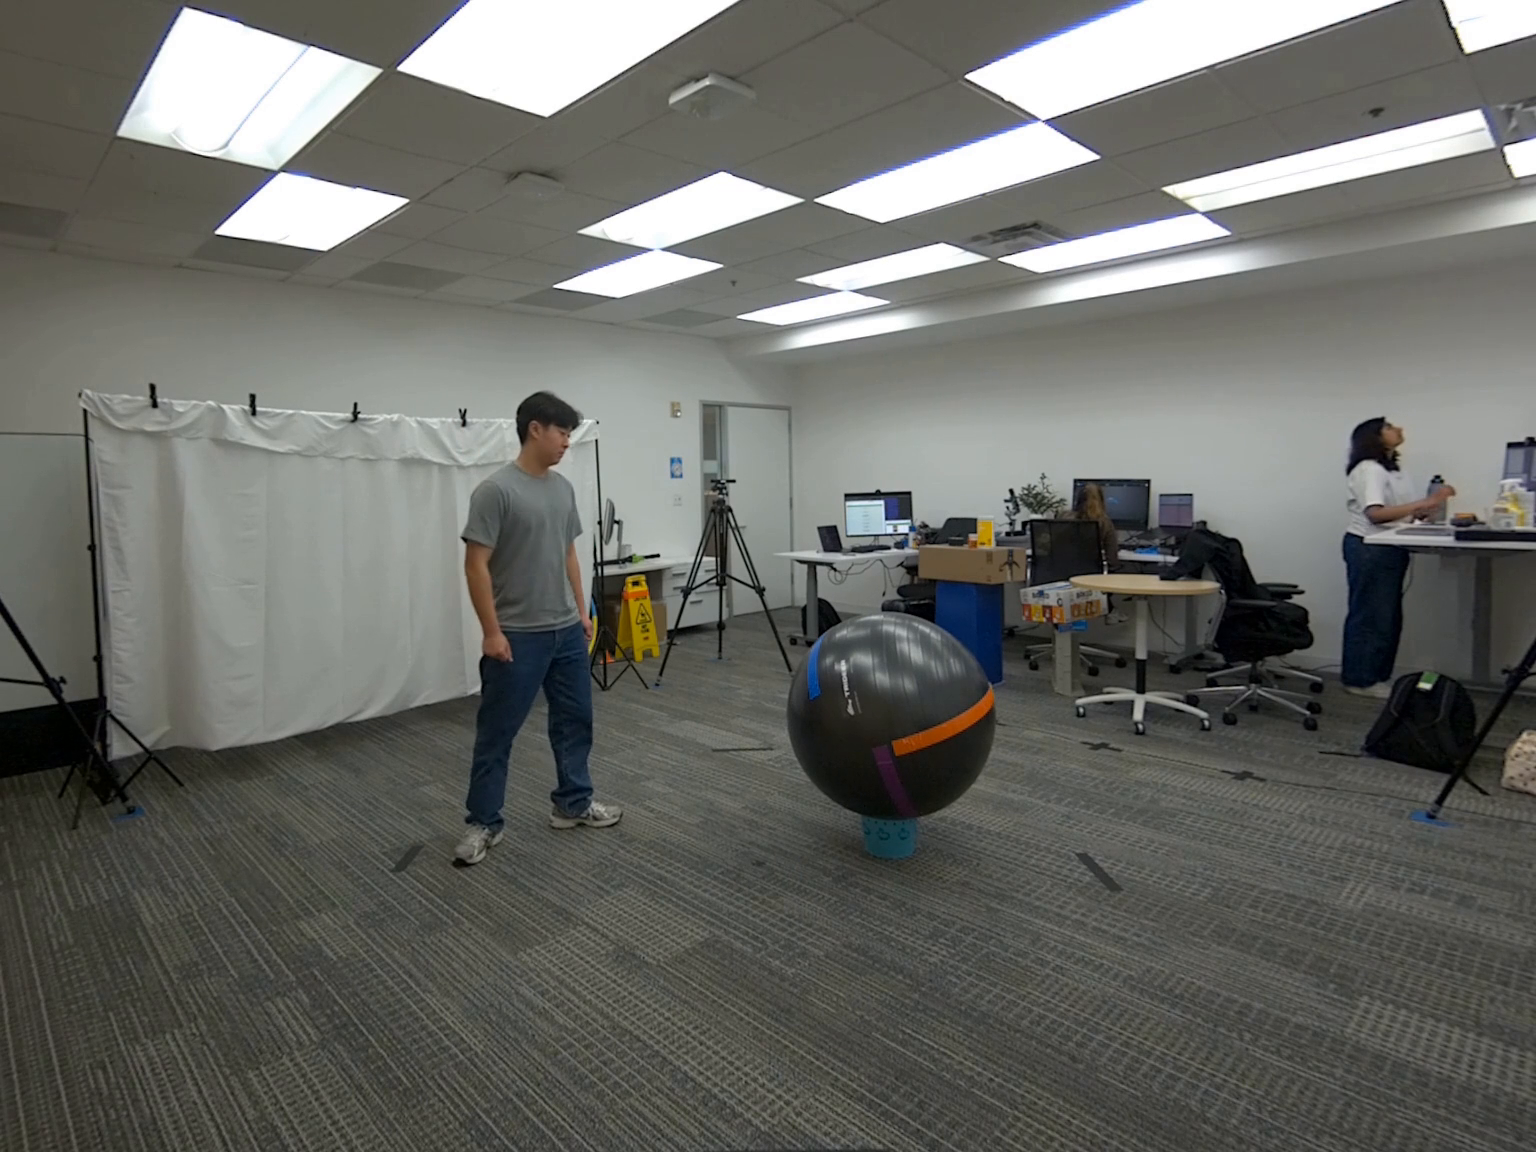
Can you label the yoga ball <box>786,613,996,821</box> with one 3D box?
[{"bbox_3d":[0.452,0.516,3.191,0.757,0.755,0.762,-1,5,-2],"label":"yoga ball"}]
